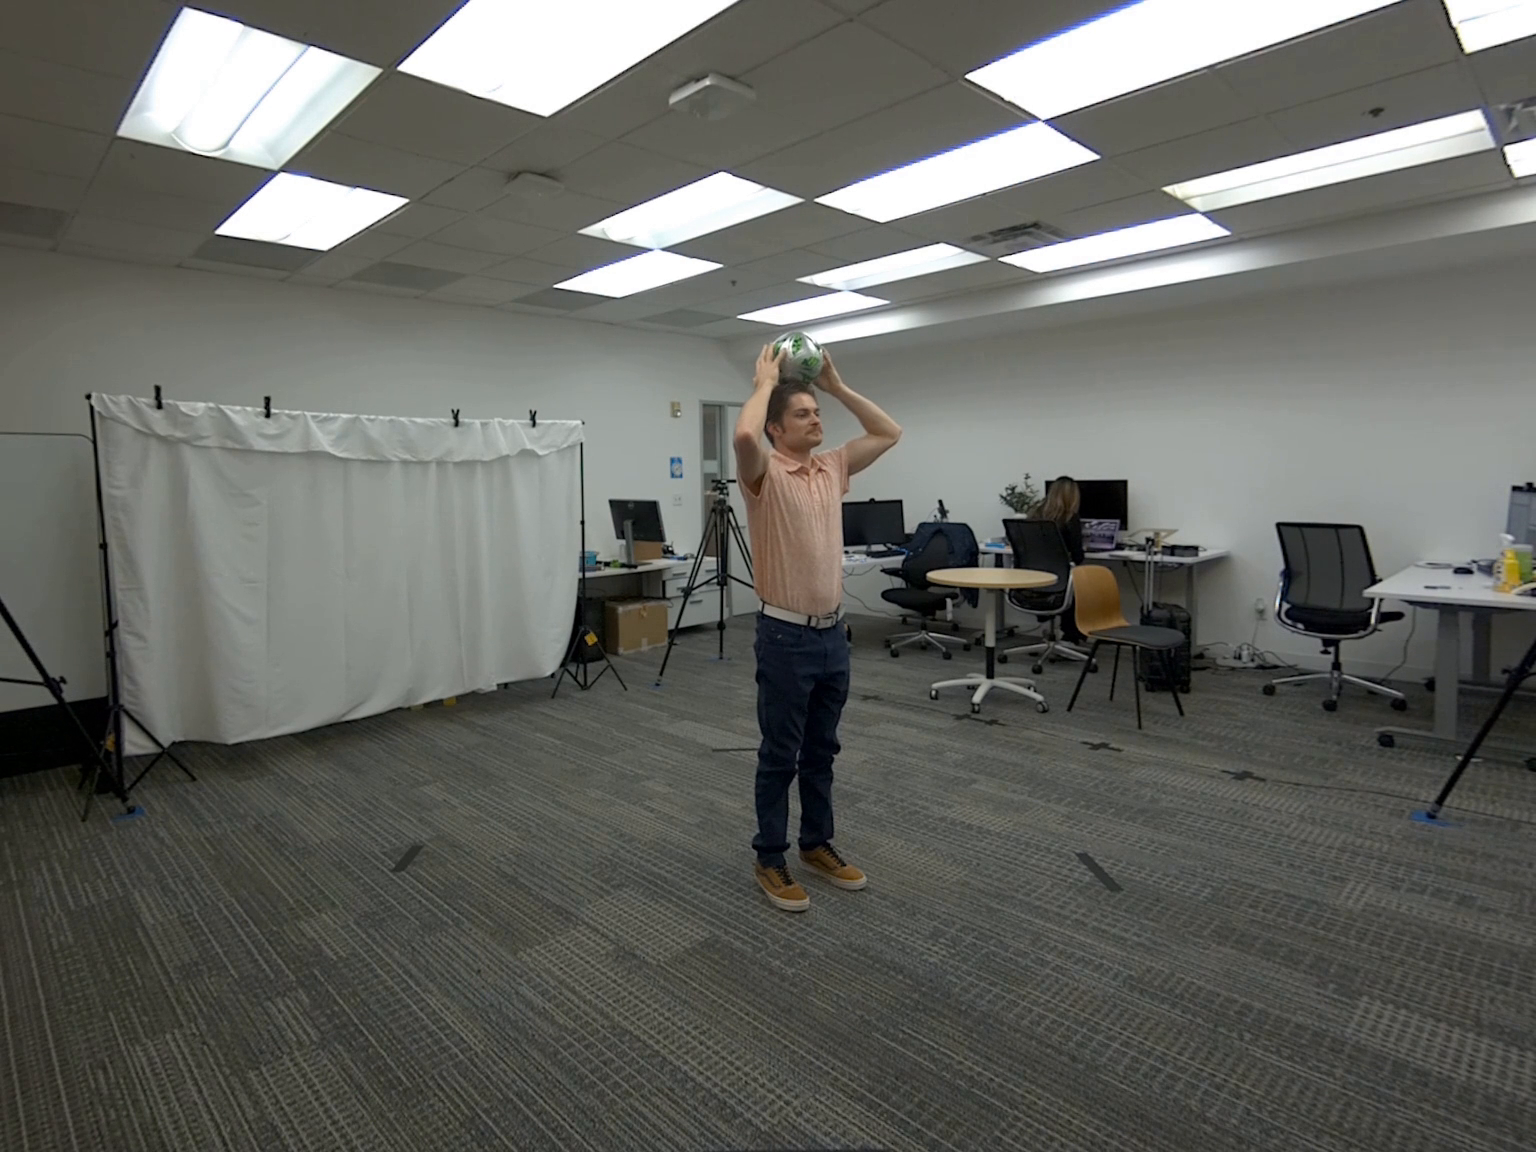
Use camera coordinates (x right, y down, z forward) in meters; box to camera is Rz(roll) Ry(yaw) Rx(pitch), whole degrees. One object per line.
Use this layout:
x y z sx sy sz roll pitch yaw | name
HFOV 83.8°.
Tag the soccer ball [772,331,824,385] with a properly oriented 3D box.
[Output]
0.095 -0.721 2.856 0.187 0.187 0.188 -1 5 -2 | soccer ball
